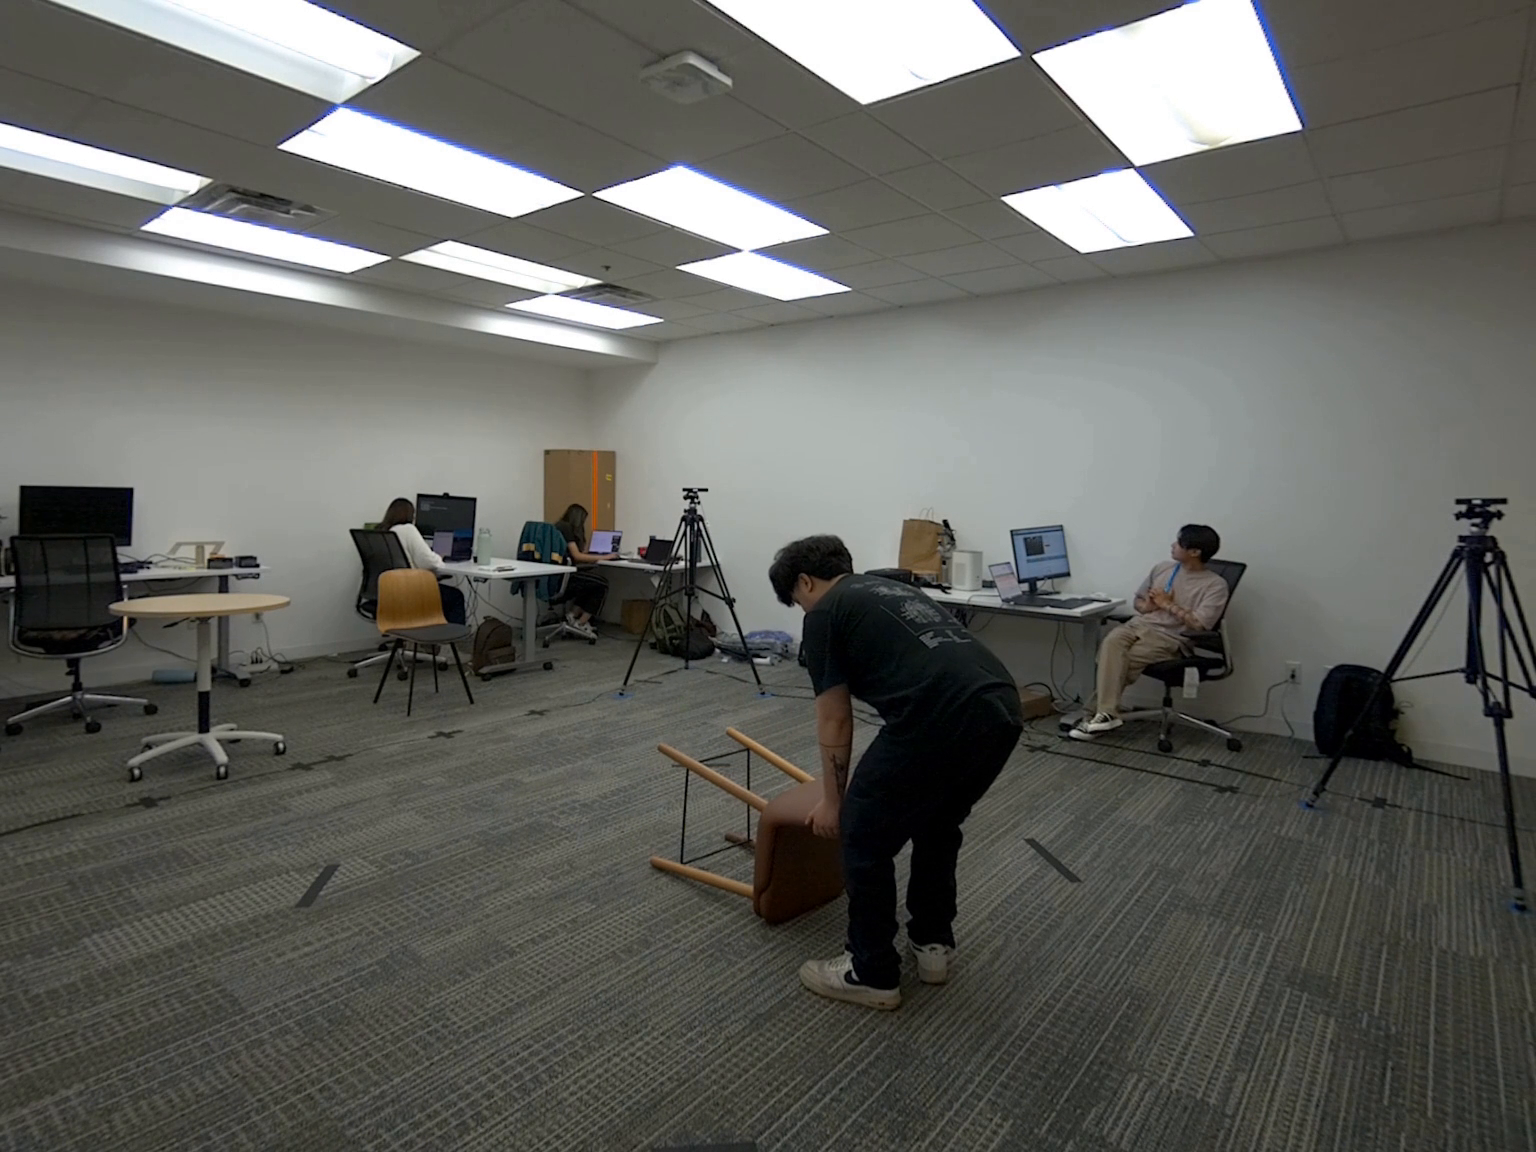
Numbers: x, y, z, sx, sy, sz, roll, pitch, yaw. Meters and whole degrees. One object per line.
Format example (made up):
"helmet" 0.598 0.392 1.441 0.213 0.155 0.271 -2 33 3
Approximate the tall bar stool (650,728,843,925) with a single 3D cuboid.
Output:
"tall bar stool" 0.019 0.865 2.930 0.920 0.466 0.442 5 5 45
